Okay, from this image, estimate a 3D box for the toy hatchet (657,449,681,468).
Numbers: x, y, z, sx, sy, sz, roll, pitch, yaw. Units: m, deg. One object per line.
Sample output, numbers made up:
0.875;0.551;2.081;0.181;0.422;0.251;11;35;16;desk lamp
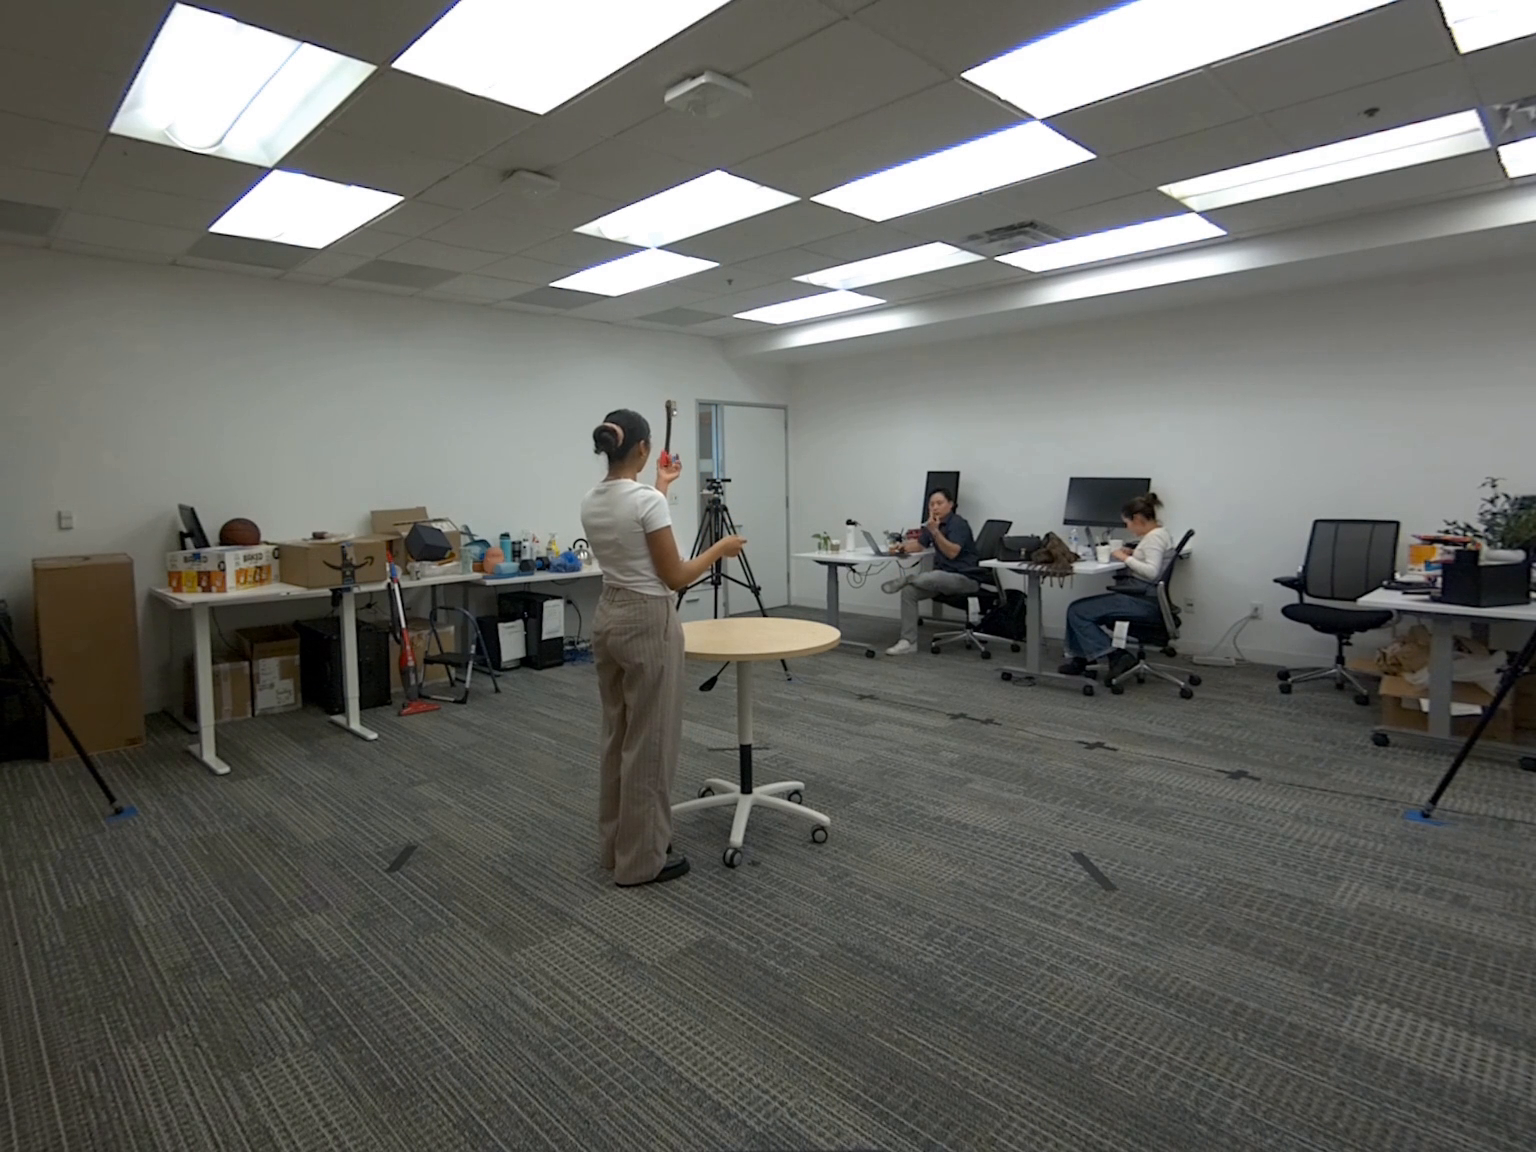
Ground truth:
-0.396;-0.535;3.328;0.030;0.263;0.133;12;40;7;toy hatchet
